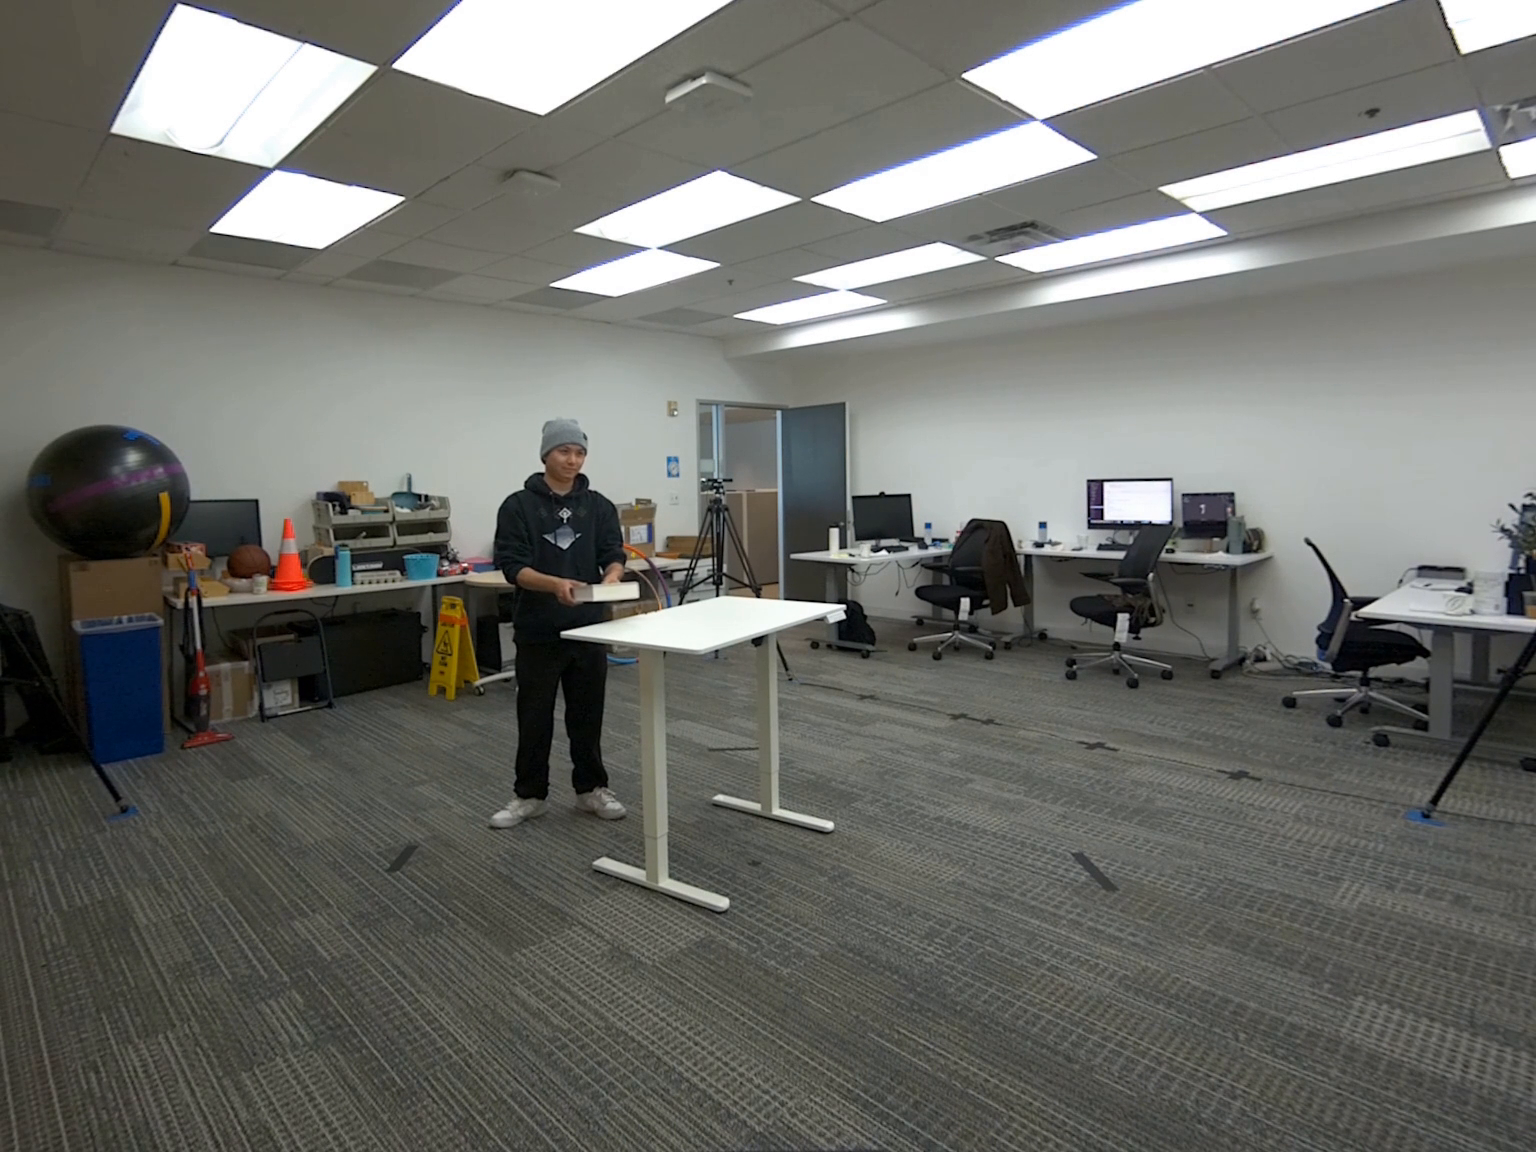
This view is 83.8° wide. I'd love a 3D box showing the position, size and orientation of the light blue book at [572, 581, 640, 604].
[{"bbox_3d":[-0.631,0.065,3.209,0.187,0.059,0.267,-3,-1,-32],"label":"light blue book"}]
